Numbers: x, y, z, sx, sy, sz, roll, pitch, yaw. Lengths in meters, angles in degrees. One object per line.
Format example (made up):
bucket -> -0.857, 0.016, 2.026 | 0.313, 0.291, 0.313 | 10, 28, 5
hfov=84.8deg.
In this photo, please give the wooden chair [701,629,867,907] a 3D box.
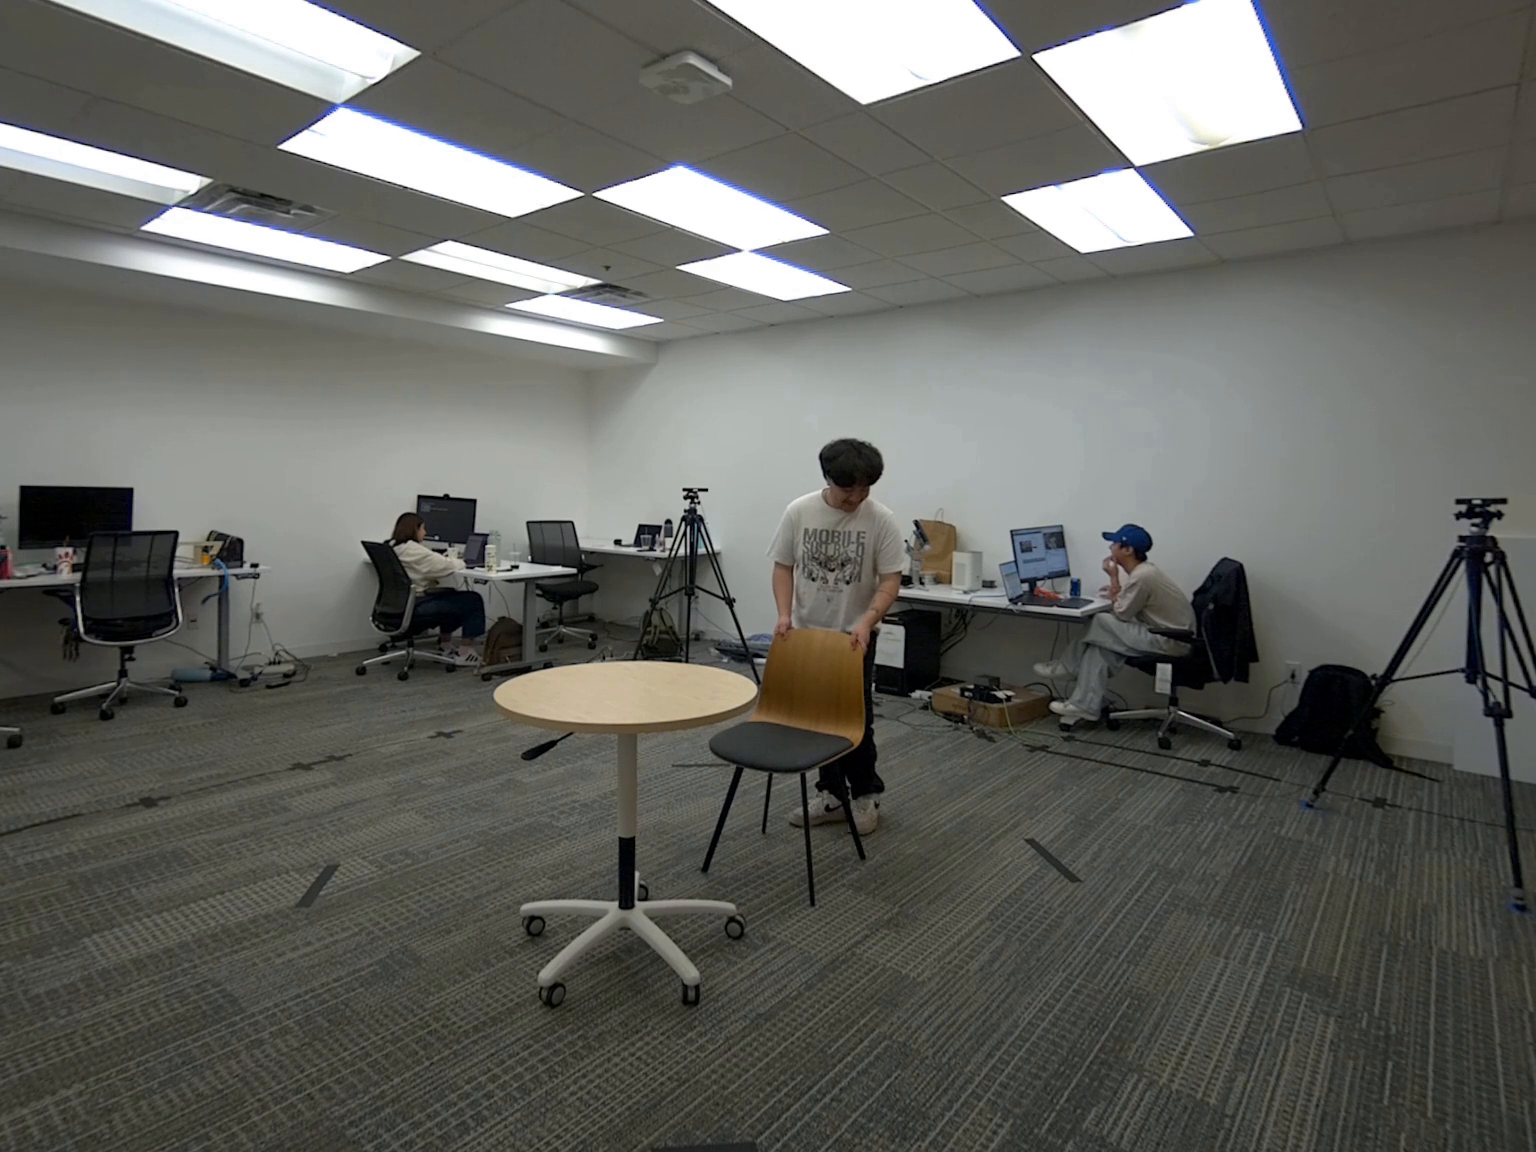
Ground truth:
wooden chair -> 0.062, 0.645, 3.119 | 0.493, 0.878, 0.507 | 4, 0, 31
